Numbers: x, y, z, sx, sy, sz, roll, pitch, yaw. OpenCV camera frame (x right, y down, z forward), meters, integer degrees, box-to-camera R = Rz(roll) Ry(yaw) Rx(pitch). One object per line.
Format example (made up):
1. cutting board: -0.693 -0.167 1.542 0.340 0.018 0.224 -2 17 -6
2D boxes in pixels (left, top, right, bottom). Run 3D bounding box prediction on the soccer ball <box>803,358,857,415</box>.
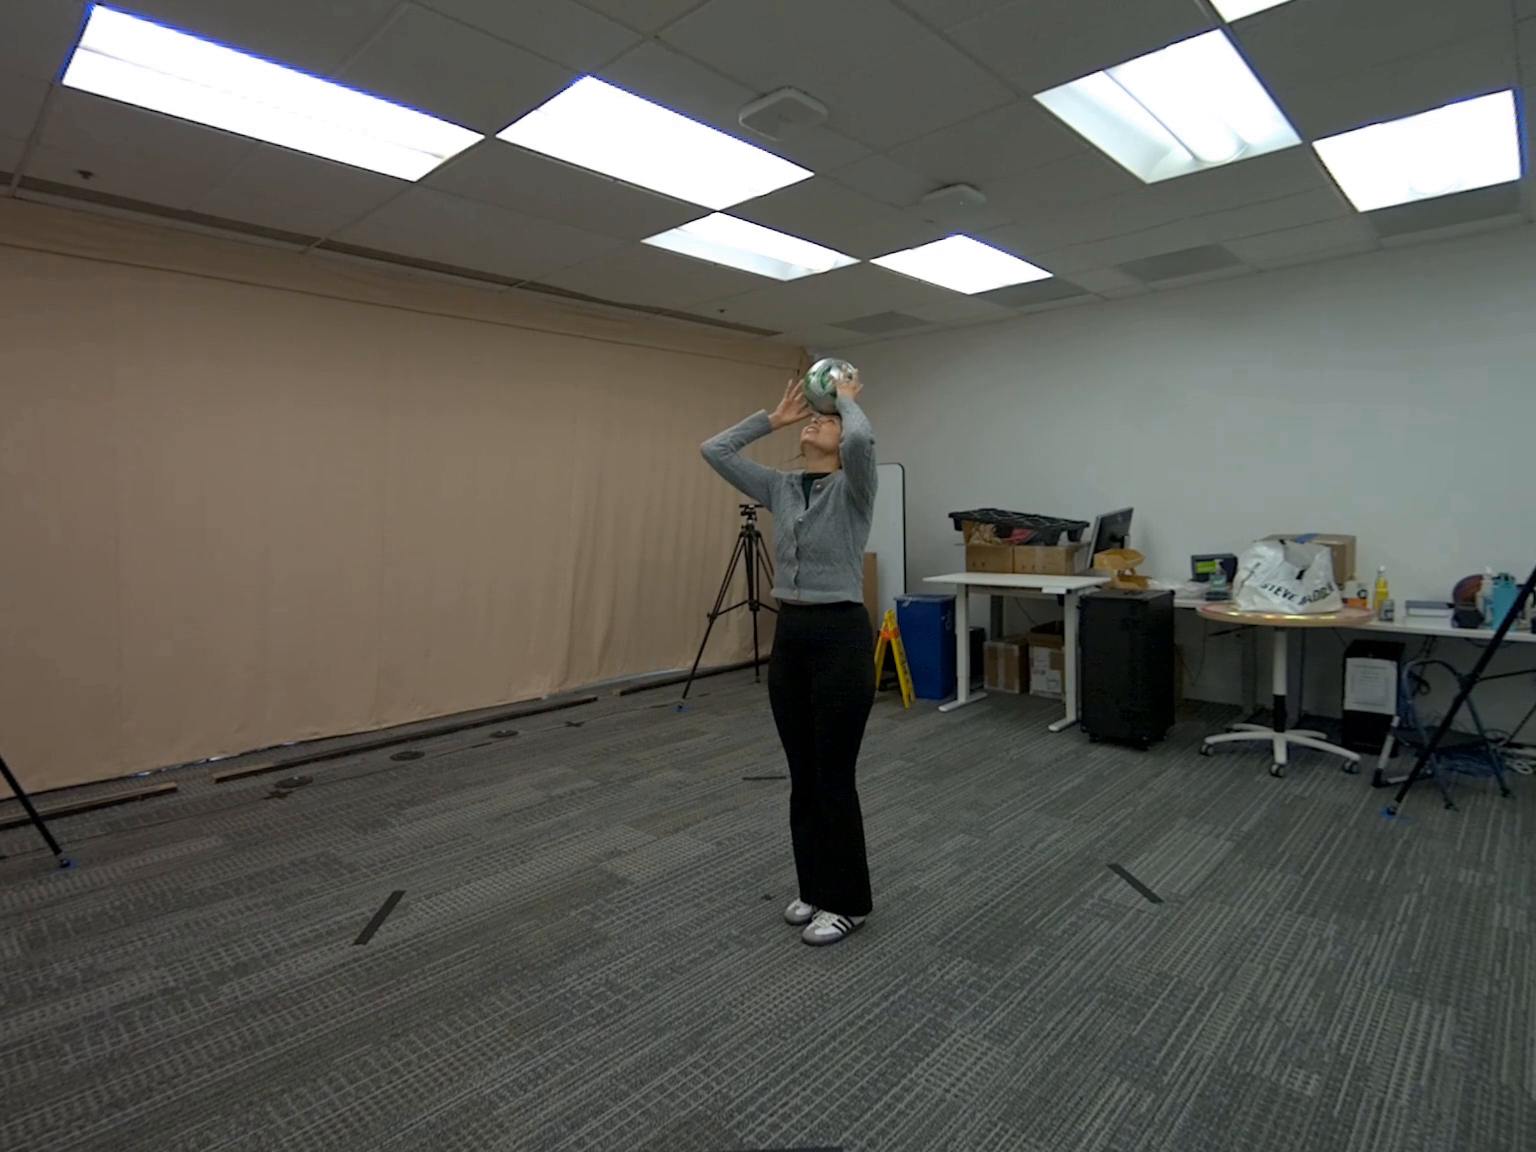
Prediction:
1. soccer ball: 0.215 -0.626 2.794 0.187 0.187 0.188 -1 4 -2
